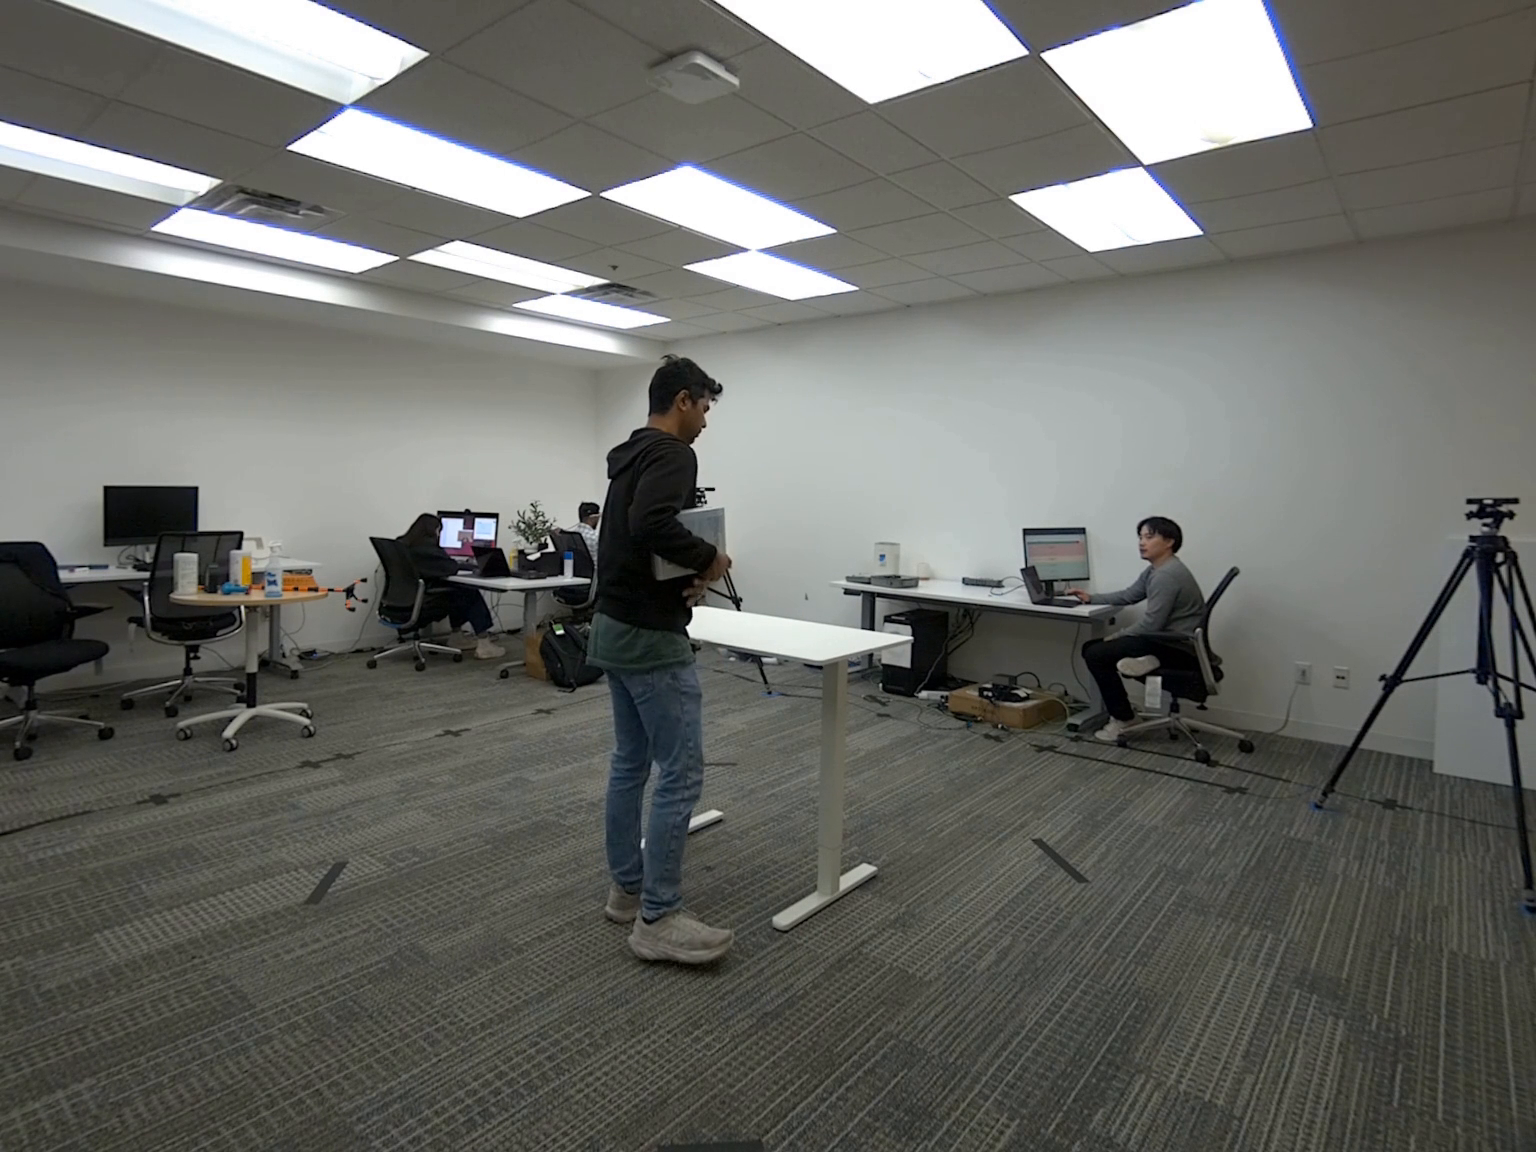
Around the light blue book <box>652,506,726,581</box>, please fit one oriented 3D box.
[{"bbox_3d":[-0.241,-0.100,2.545,0.254,0.190,0.061,-11,11,-38],"label":"light blue book"}]
